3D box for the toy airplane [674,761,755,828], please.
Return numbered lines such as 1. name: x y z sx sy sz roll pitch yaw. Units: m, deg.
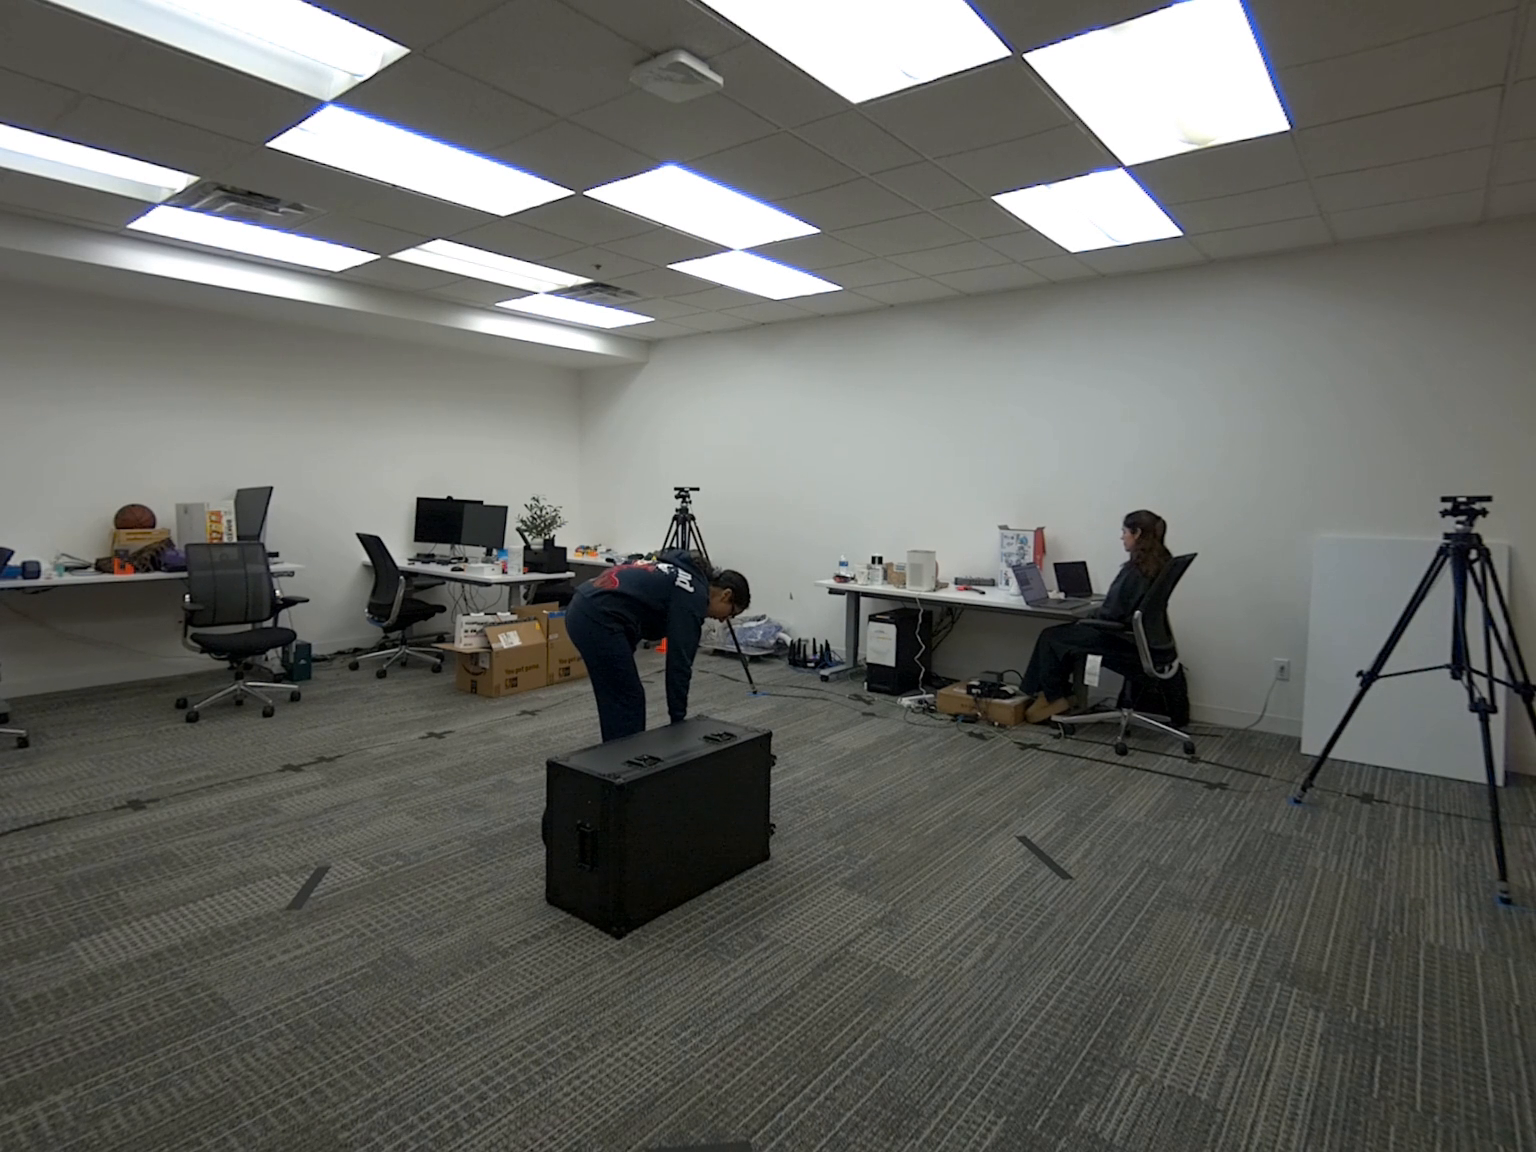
1. toy airplane: -0.236 0.941 3.654 0.253 0.155 0.259 -4 8 -29
